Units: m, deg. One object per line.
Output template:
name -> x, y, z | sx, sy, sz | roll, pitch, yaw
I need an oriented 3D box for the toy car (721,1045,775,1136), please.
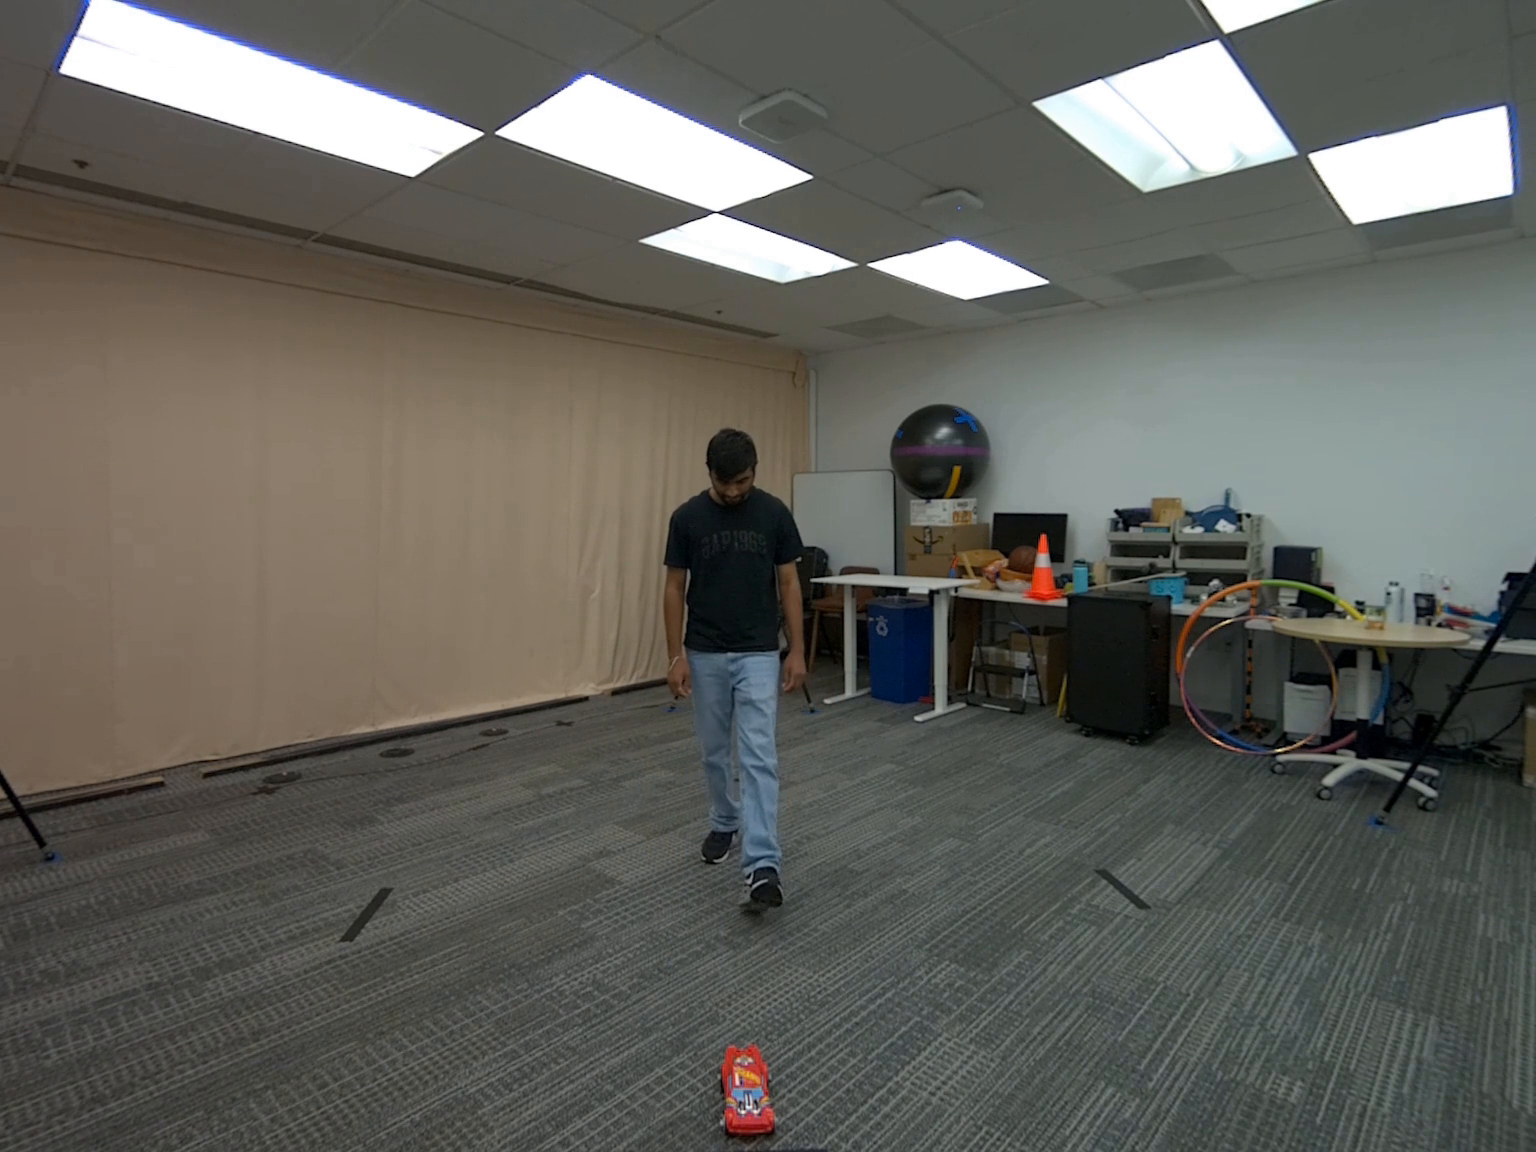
toy car -> -0.054, 1.194, 1.962 | 0.130, 0.082, 0.258 | -2, 15, -5
